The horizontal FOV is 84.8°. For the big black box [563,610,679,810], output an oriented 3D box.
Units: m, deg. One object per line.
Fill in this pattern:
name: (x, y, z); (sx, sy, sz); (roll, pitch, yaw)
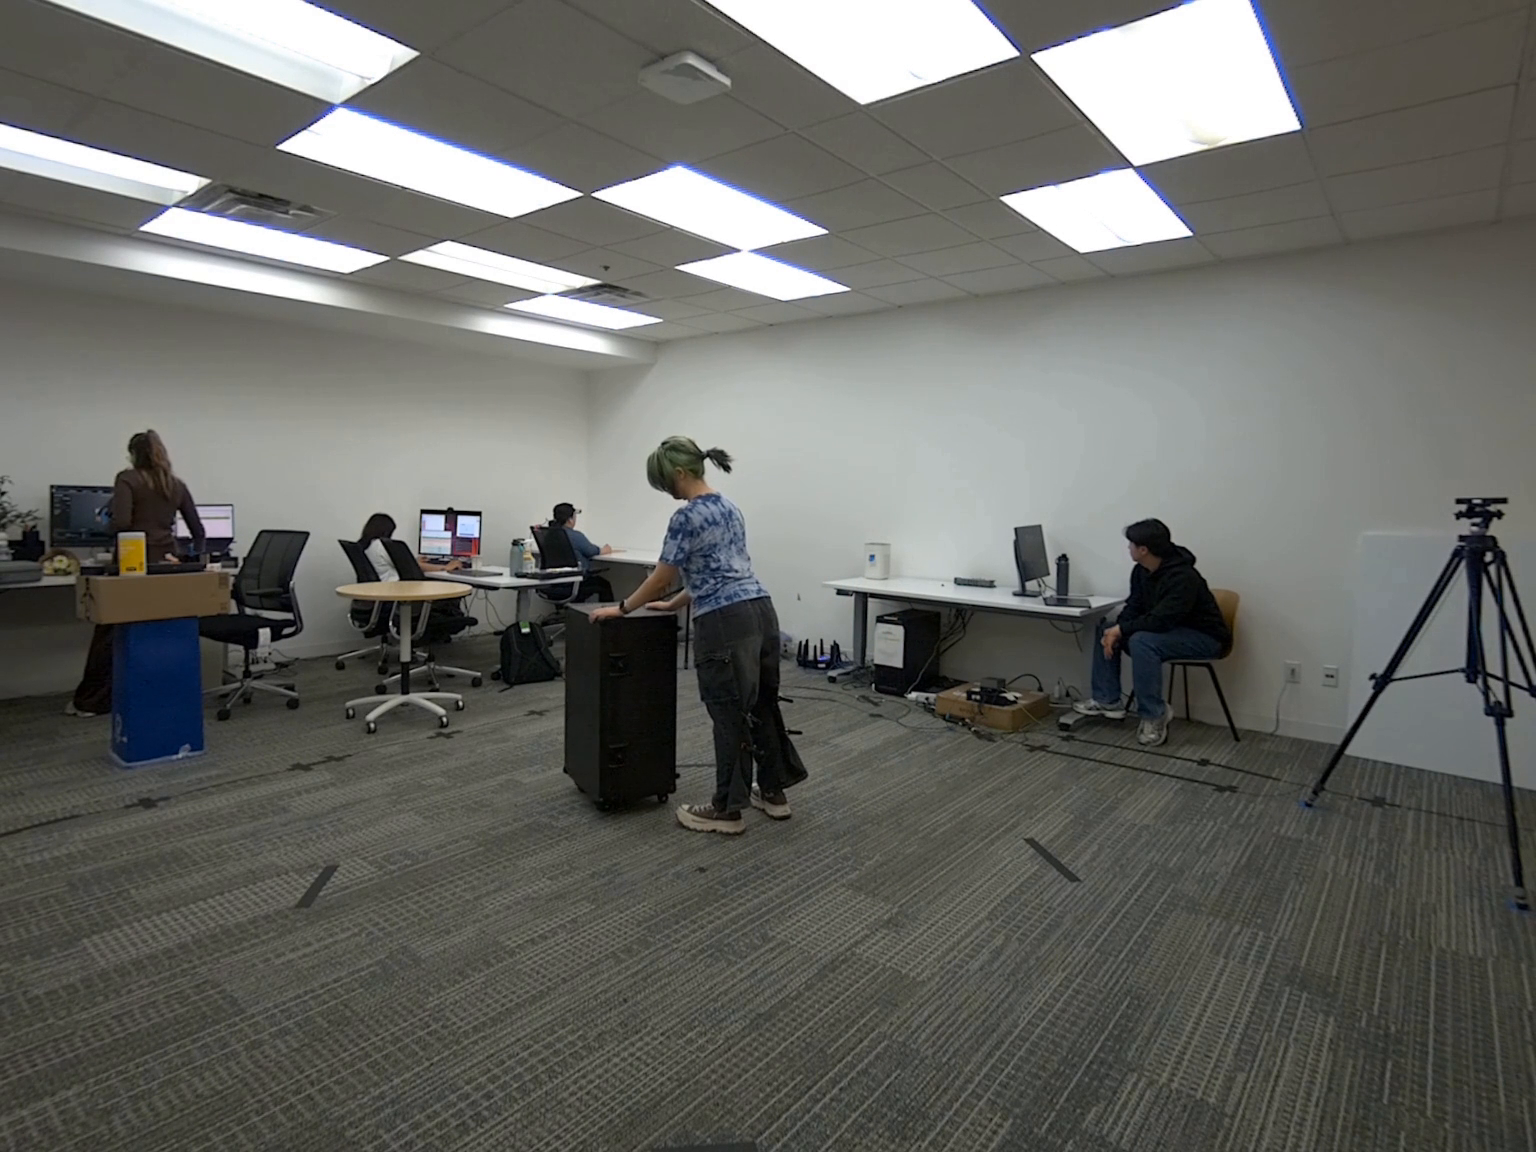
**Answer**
big black box: (-0.676, 0.569, 3.816); (0.386, 0.859, 0.536); (-1, 3, -30)
